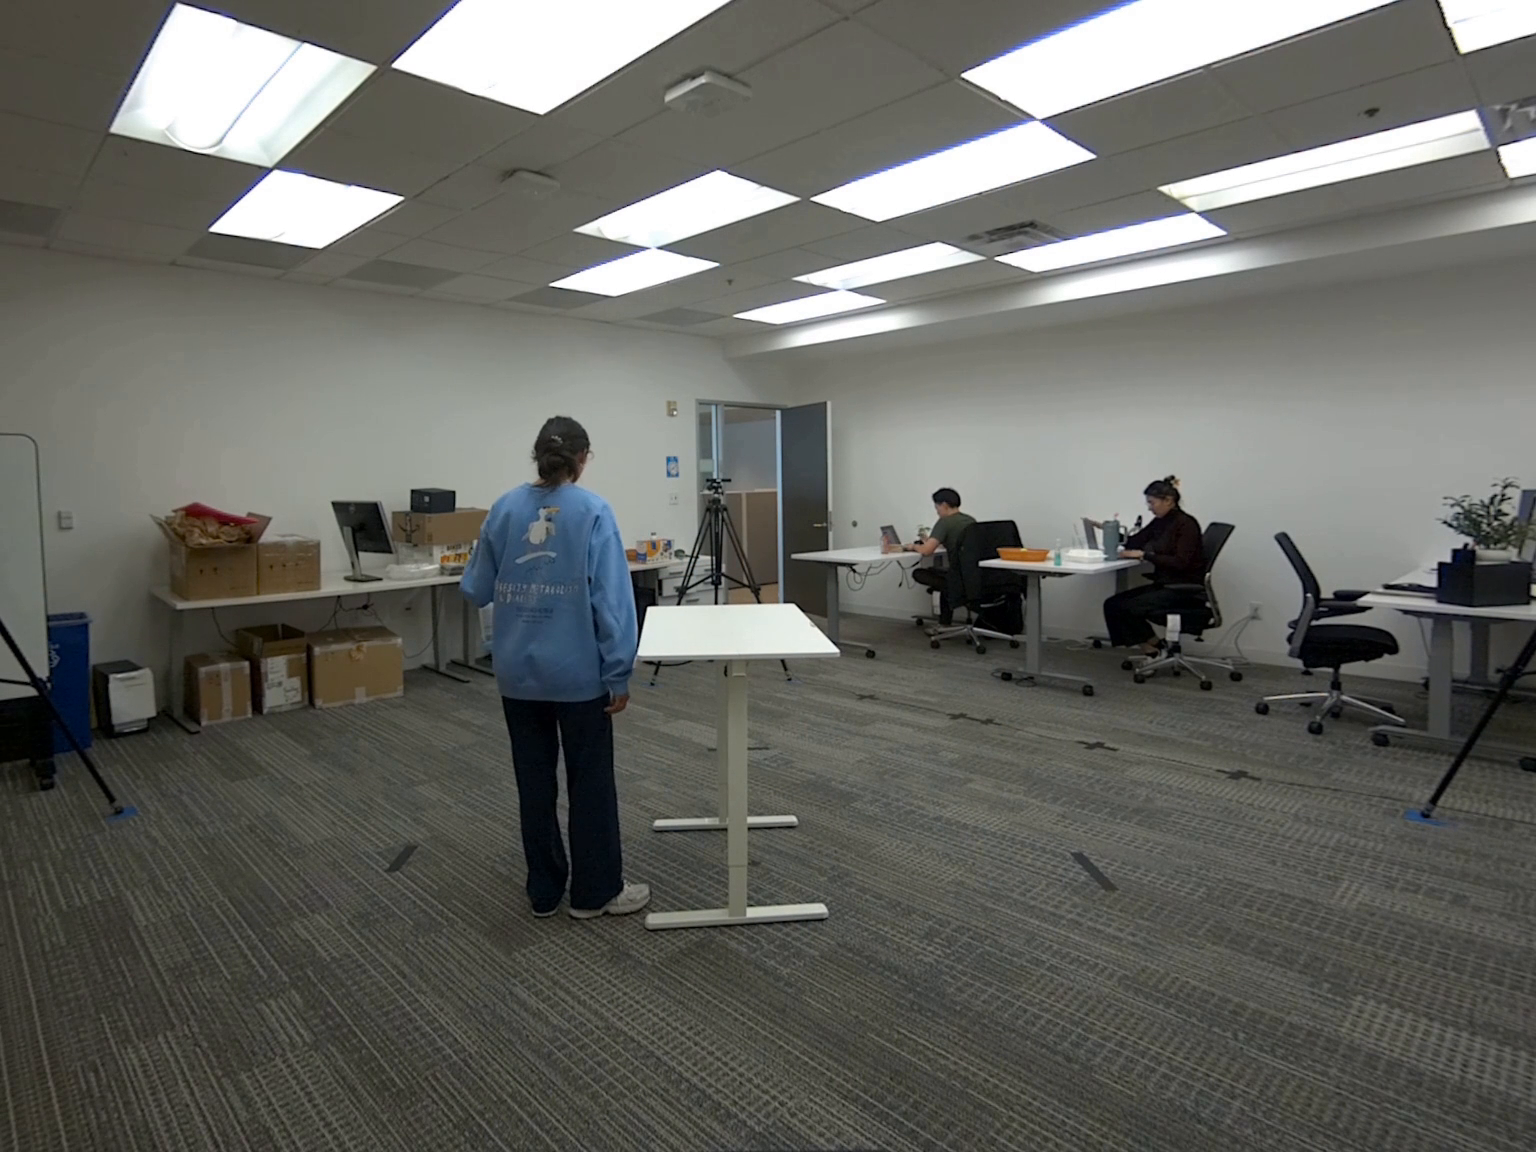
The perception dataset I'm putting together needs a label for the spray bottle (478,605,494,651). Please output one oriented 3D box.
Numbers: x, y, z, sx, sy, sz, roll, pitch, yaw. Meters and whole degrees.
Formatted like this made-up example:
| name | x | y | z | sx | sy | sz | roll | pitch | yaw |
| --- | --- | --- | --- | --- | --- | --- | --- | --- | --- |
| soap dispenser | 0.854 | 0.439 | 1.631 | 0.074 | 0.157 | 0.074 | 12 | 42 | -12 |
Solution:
| name | x | y | z | sx | sy | sz | roll | pitch | yaw |
| --- | --- | --- | --- | --- | --- | --- | --- | --- | --- |
| spray bottle | -1.011 | 0.114 | 3.124 | 0.085 | 0.300 | 0.090 | -6 | -10 | -19 |
